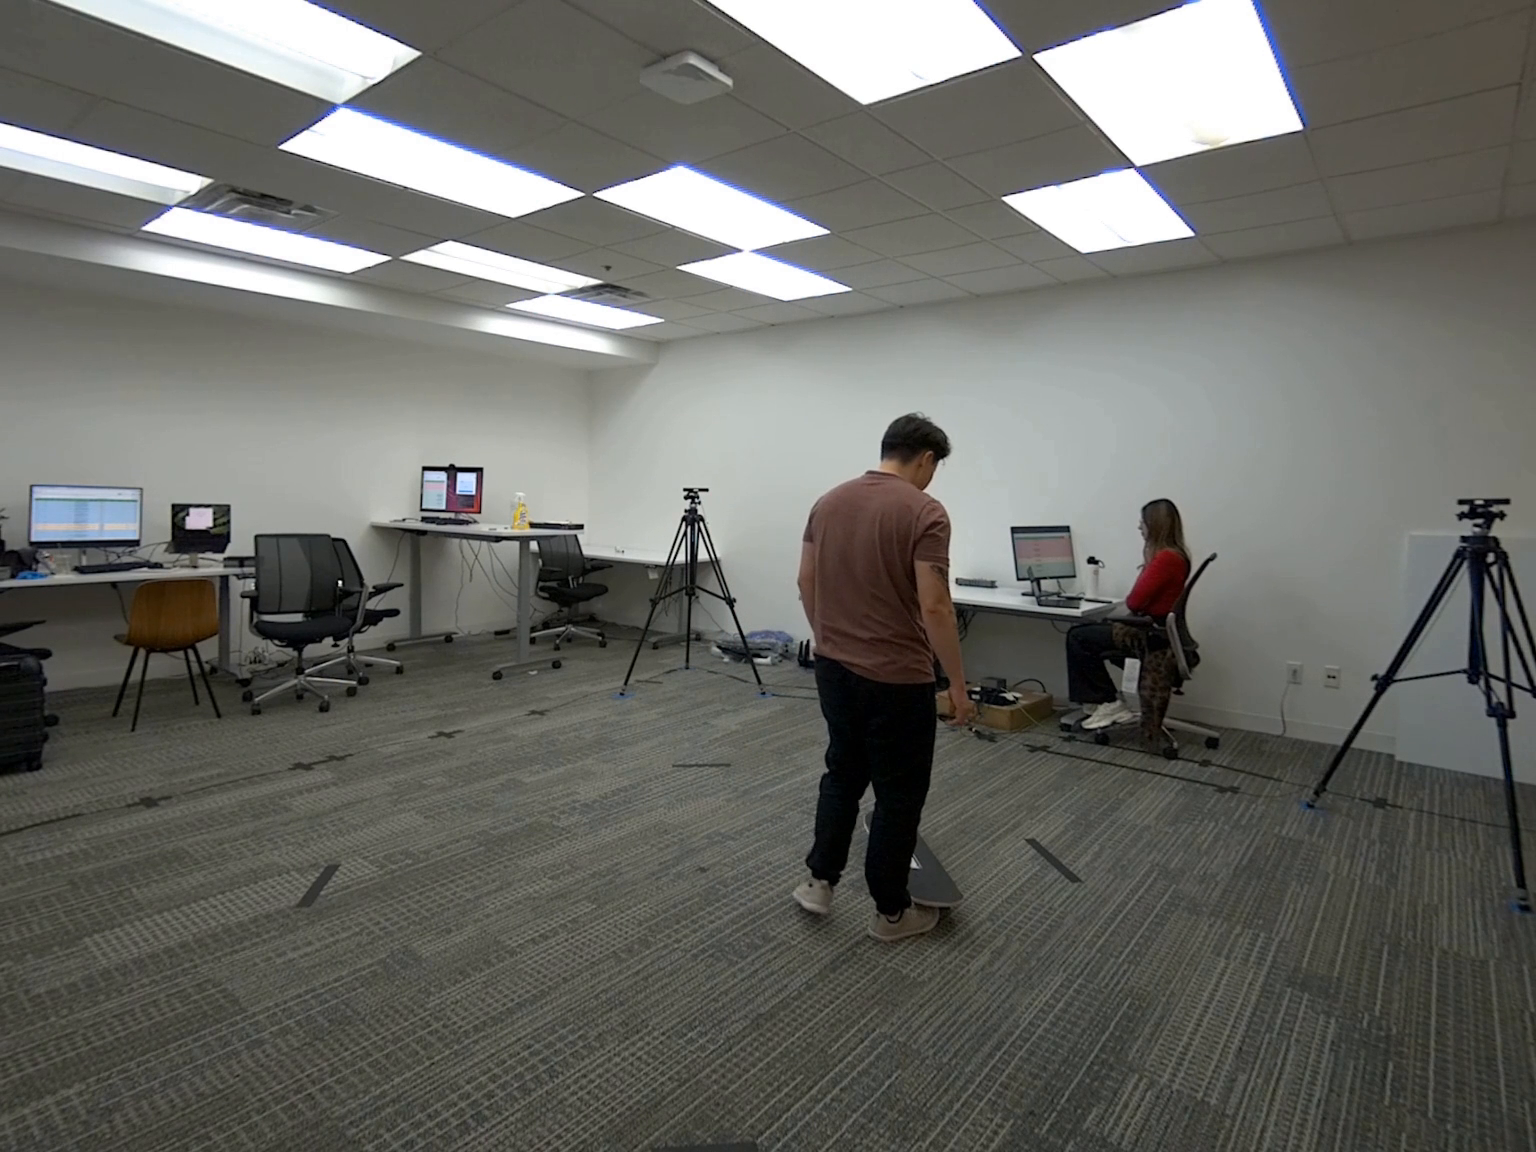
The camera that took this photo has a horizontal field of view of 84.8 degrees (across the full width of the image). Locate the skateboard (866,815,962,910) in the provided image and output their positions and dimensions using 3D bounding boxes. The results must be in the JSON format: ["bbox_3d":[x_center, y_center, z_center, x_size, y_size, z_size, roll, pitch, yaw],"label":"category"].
[{"bbox_3d":[0.497,1.031,3.061,0.192,0.110,0.793,1,6,-6],"label":"skateboard"}]
